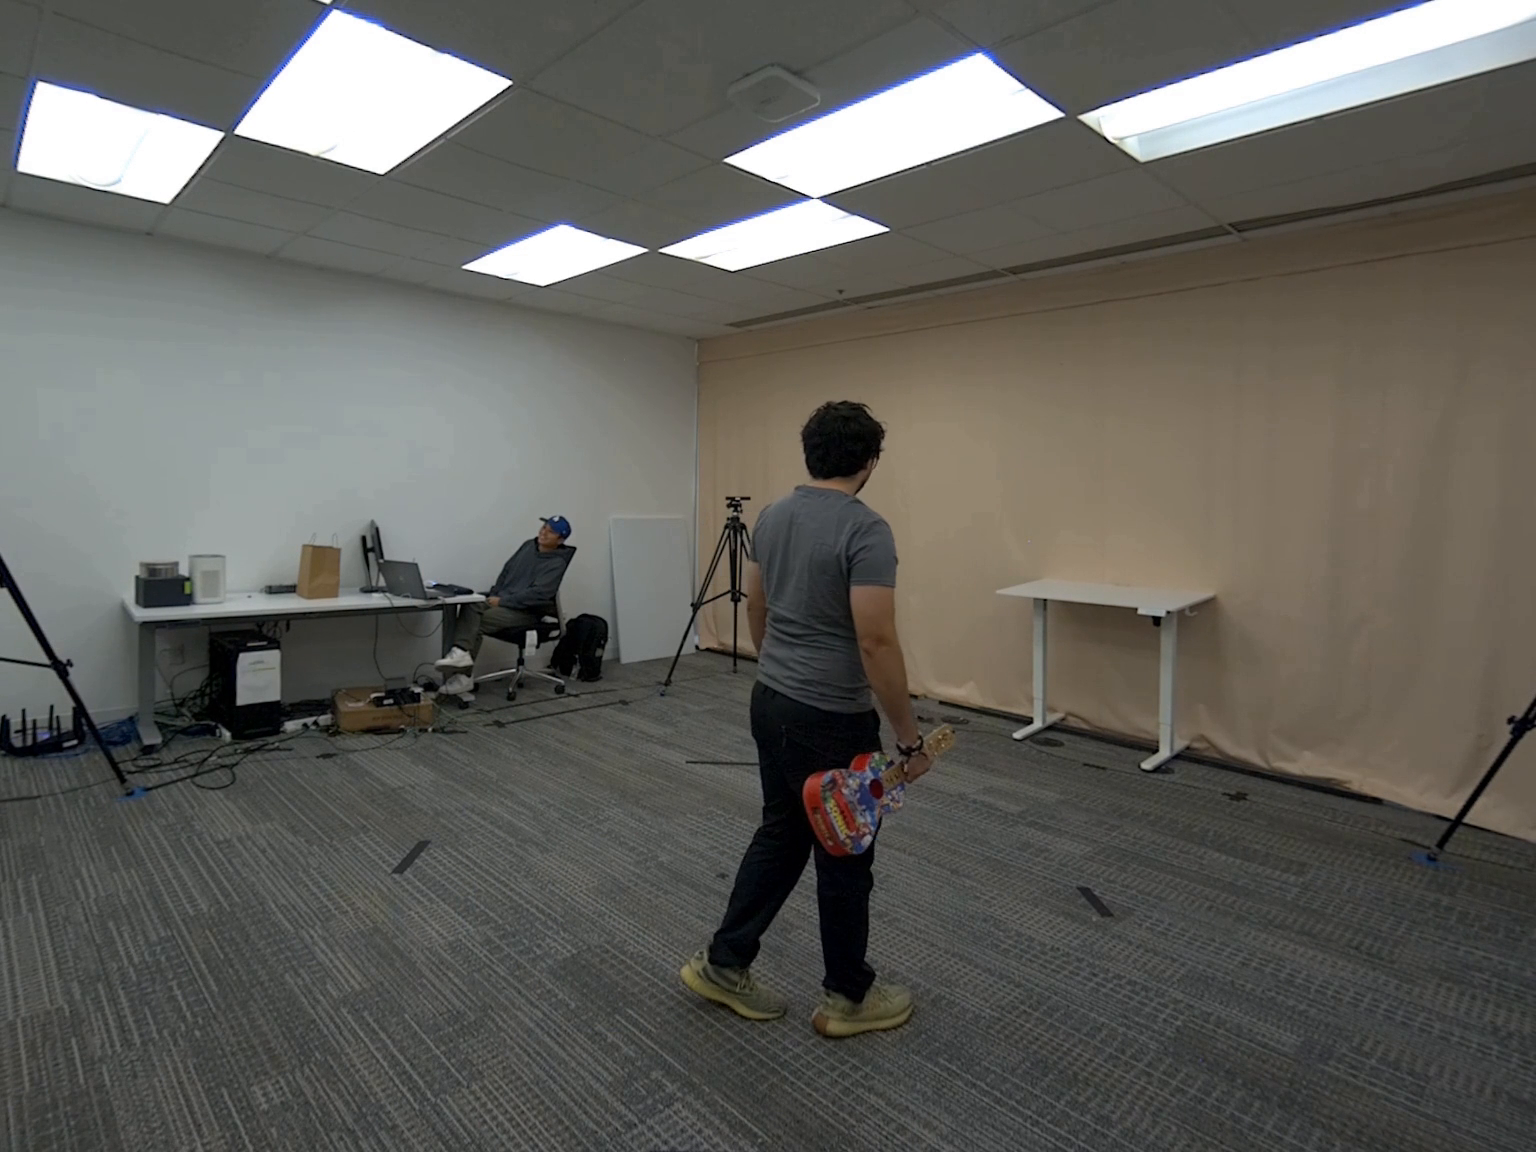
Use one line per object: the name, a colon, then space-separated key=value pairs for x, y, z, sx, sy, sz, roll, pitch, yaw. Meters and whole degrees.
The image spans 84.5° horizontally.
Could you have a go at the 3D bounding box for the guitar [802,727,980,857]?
guitar: x=0.298 y=0.527 z=2.044 sx=0.488 sy=0.195 sz=0.071 roll=-10 pitch=-14 yaw=-39
